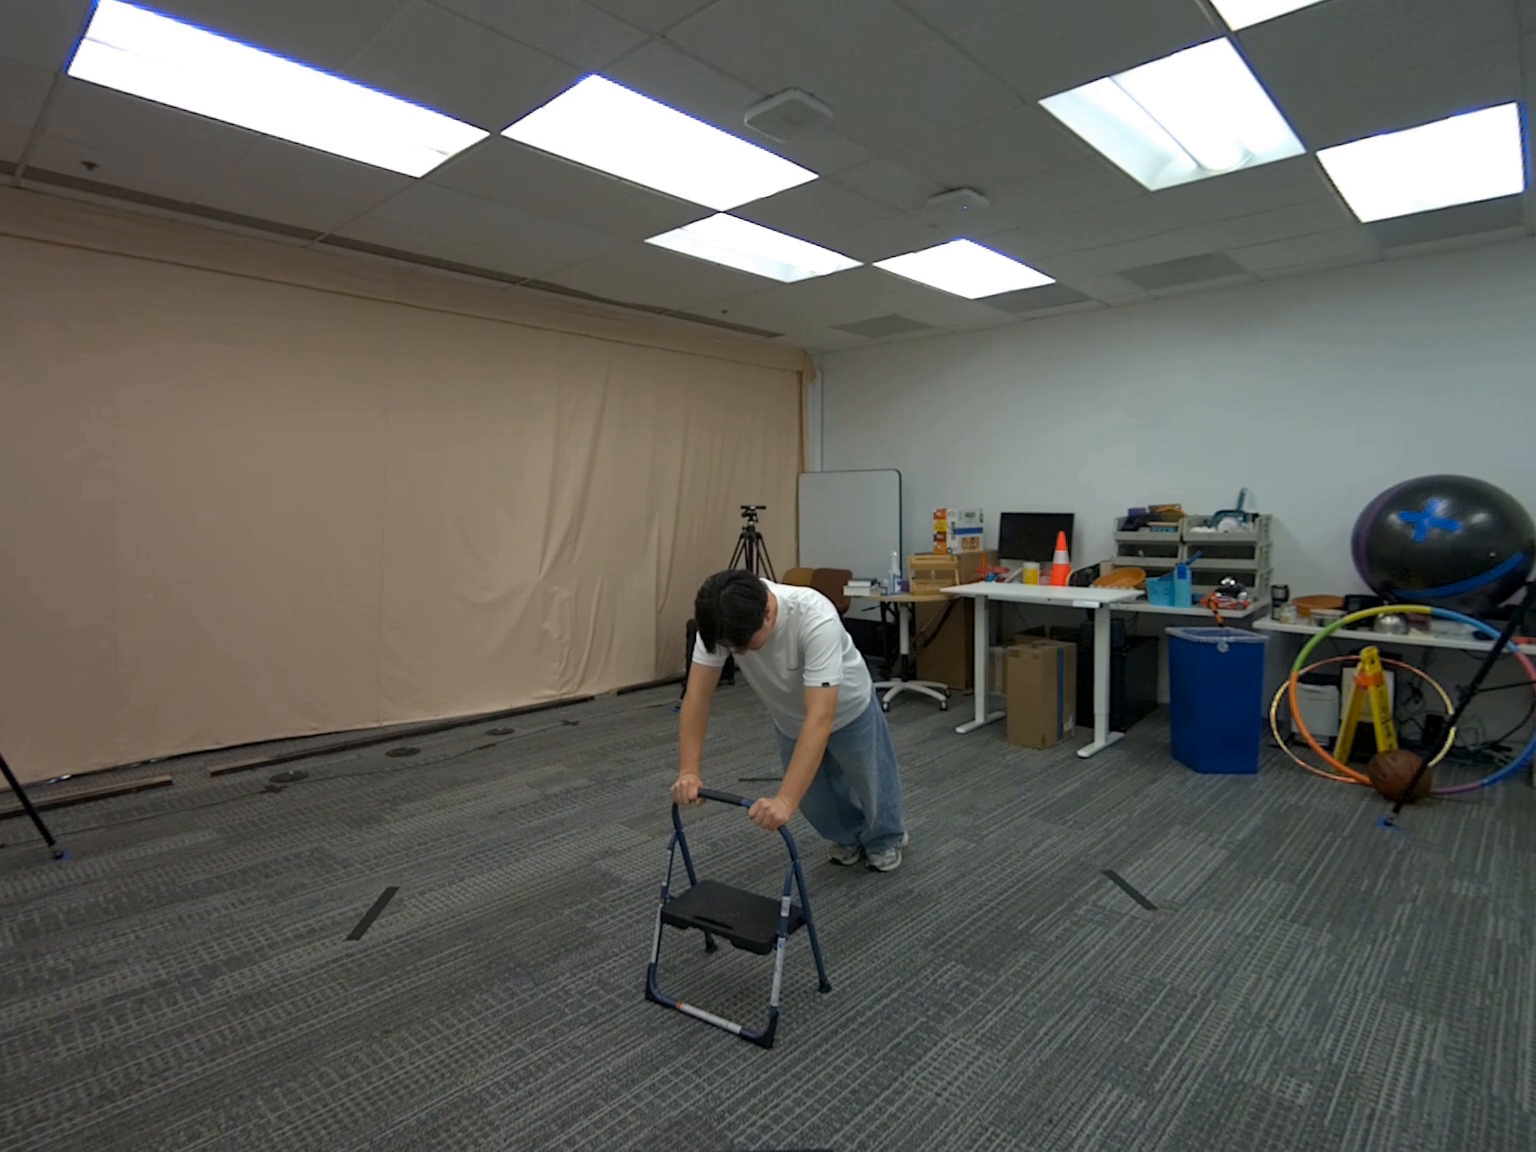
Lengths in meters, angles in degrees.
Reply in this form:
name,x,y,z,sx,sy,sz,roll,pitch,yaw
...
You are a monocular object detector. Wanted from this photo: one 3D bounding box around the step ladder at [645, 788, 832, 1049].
name,x,y,z,sx,sy,sz,roll,pitch,yaw
step ladder,-0.089,0.891,2.386,0.443,0.604,0.340,2,4,31
